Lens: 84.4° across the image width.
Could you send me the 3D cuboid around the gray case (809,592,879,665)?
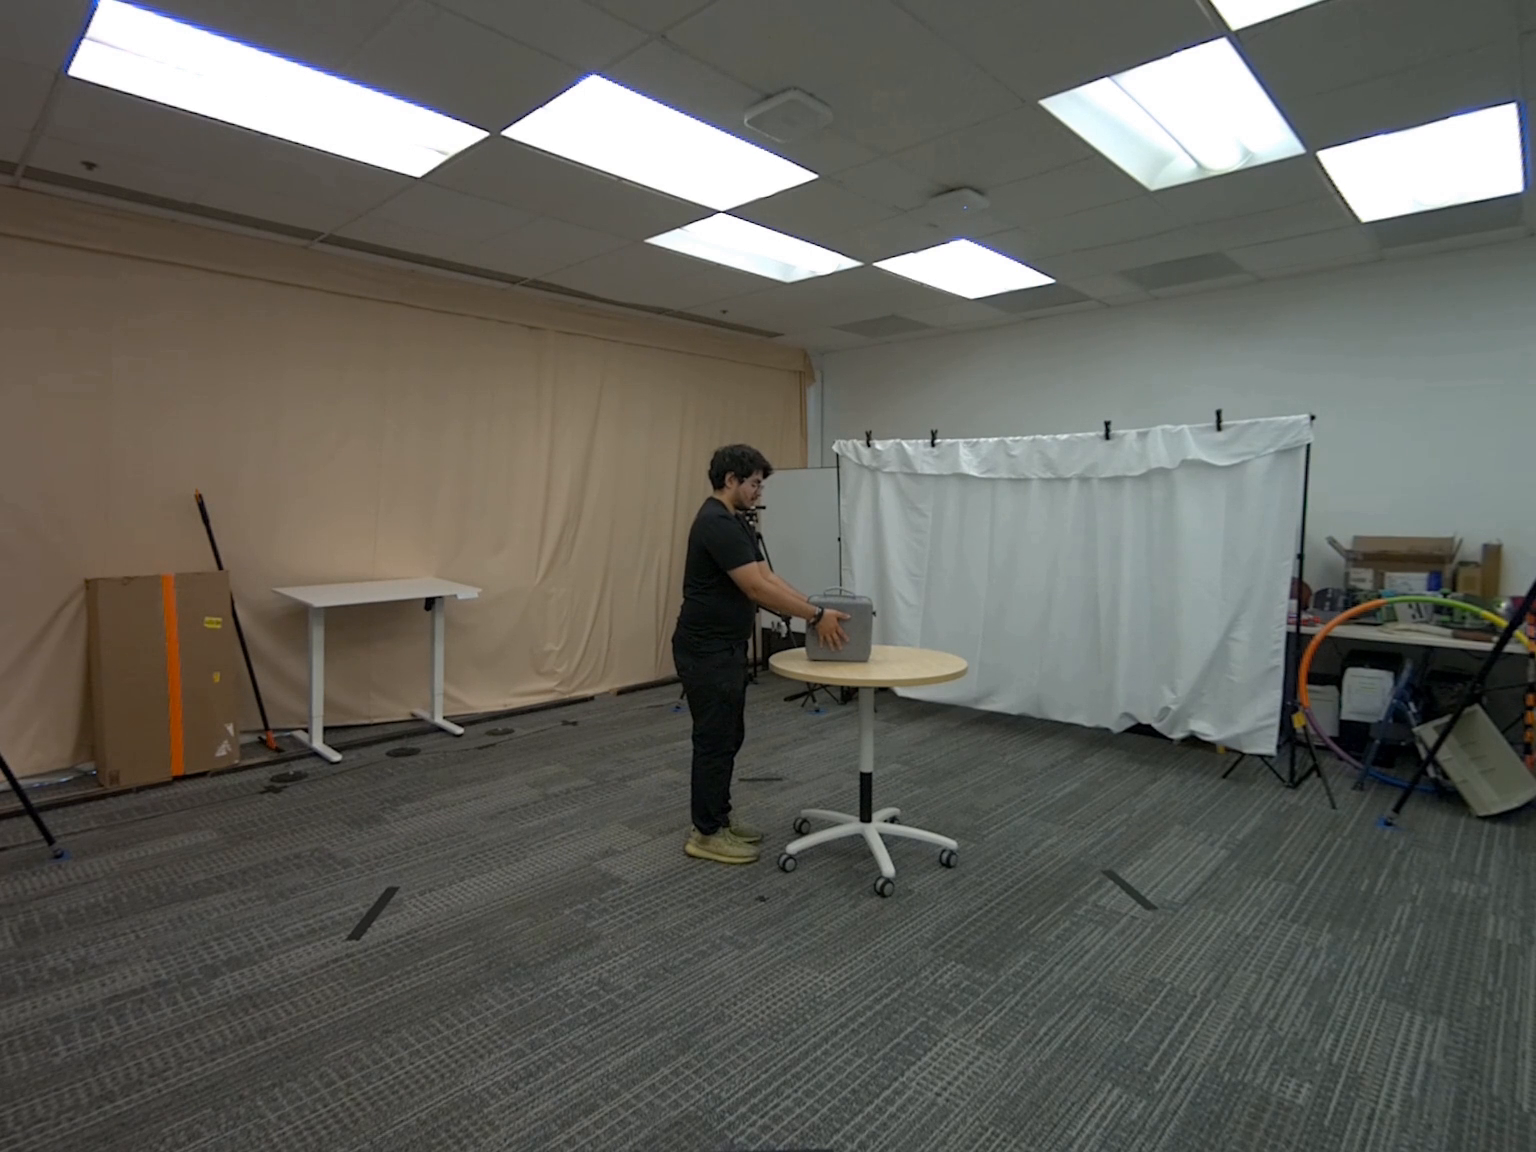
[{"bbox_3d":[0.289,0.199,3.290,0.258,0.259,0.104,0,7,5],"label":"gray case"}]
